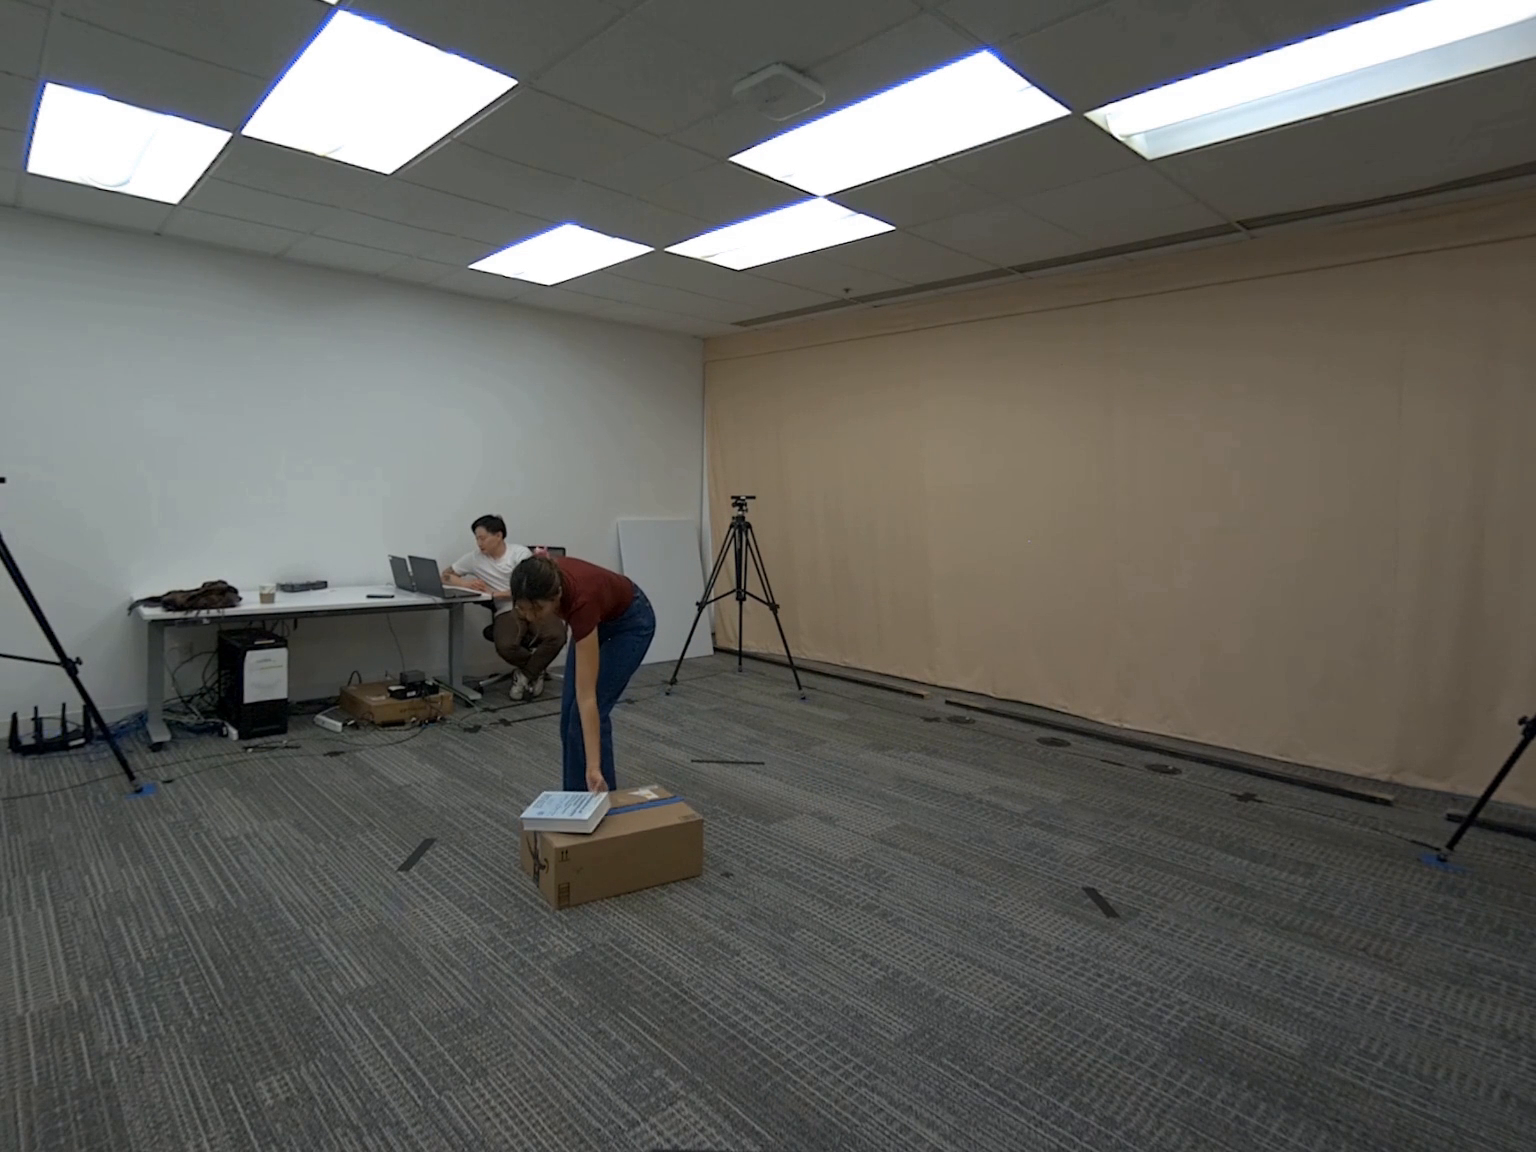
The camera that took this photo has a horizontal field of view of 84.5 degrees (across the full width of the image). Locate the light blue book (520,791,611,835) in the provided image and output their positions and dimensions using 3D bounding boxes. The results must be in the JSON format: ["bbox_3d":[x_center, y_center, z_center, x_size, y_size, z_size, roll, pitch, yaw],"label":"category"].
[{"bbox_3d":[-0.727,0.841,2.984,0.264,0.058,0.191,-2,14,14],"label":"light blue book"}]
